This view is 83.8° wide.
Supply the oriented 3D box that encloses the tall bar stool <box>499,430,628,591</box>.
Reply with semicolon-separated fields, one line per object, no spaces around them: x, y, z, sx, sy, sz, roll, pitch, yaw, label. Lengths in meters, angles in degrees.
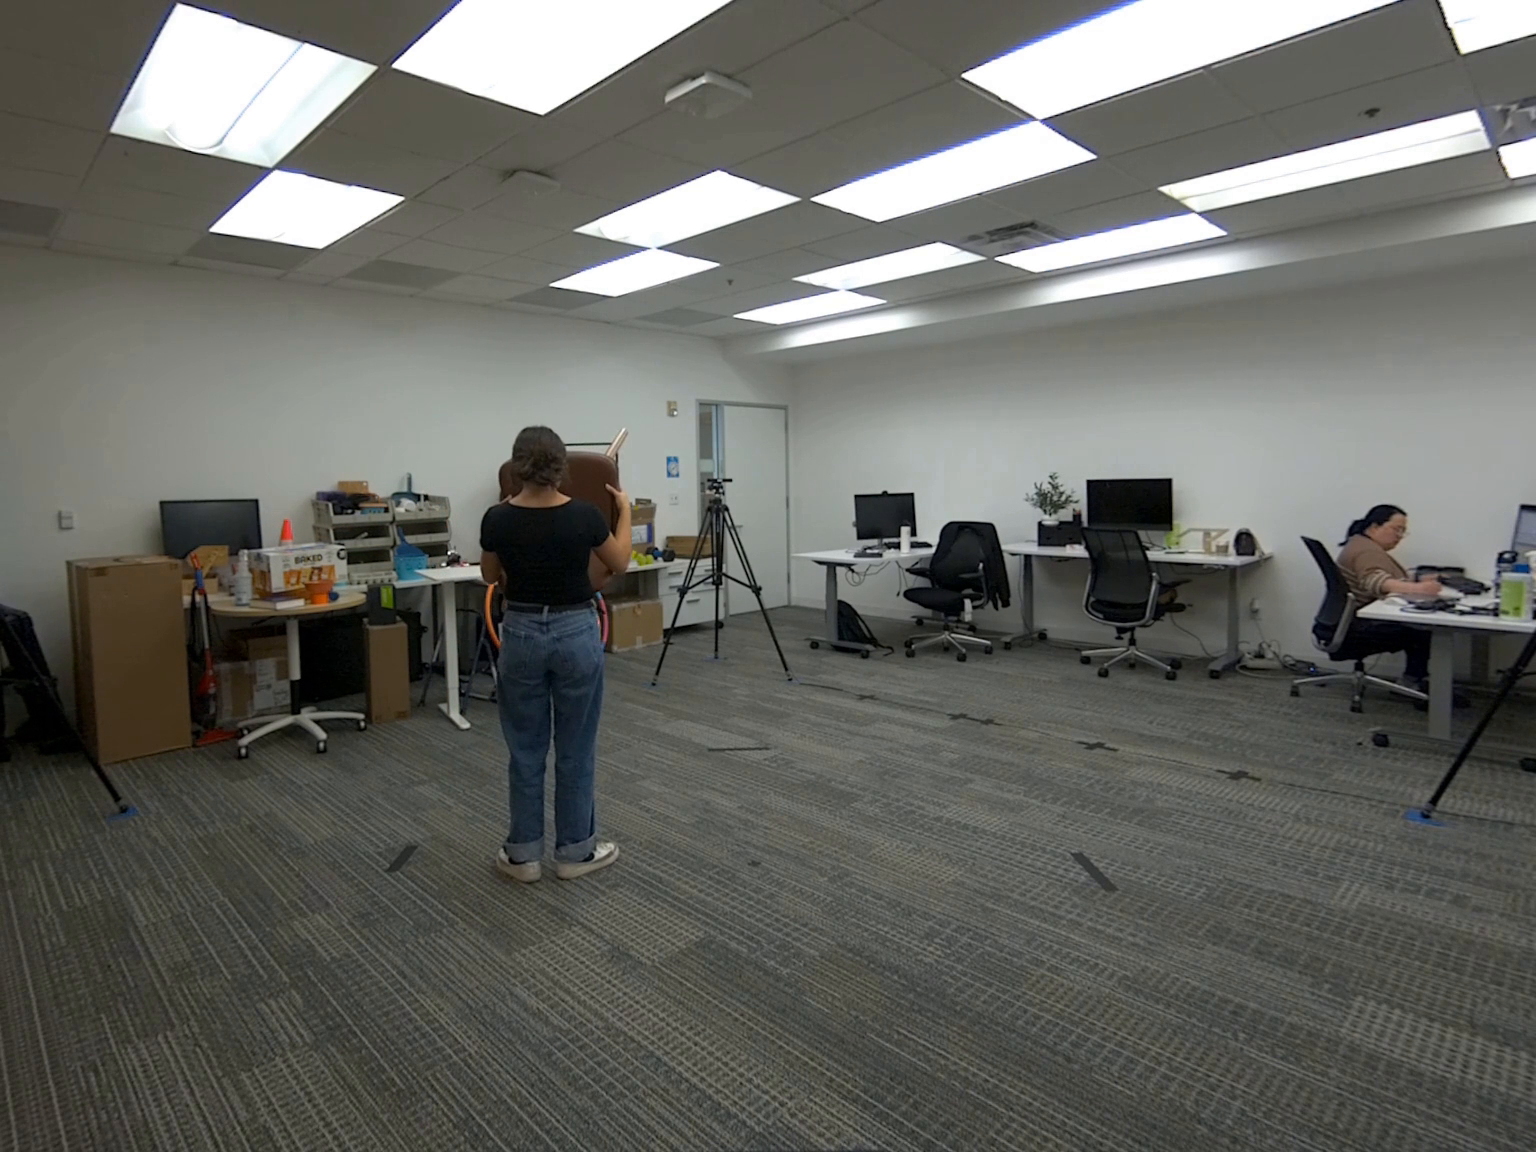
-0.798;-0.285;3.386;0.455;0.460;0.907;-1;19;-4;tall bar stool
